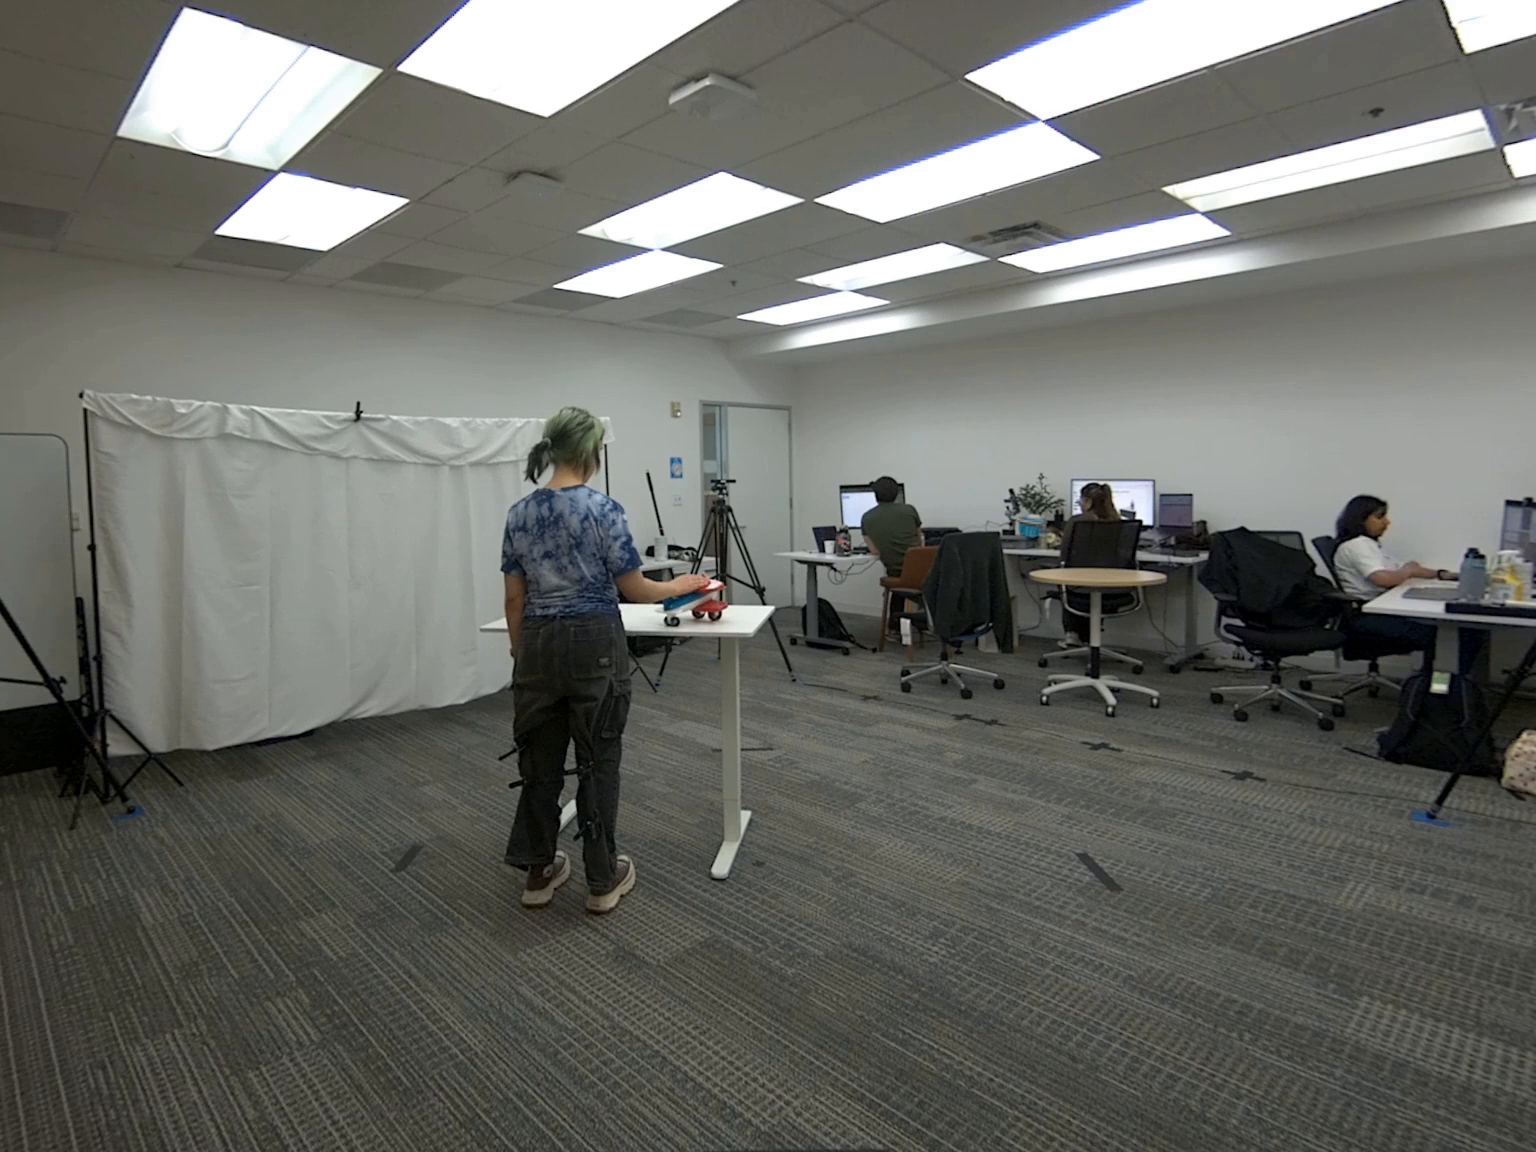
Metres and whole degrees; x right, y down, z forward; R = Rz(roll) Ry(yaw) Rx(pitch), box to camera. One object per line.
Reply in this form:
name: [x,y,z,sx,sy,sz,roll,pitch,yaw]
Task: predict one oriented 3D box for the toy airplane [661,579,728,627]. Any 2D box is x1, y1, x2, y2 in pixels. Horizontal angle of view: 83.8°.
toy airplane: [-0.264,0.095,3.104,0.255,0.156,0.257,2,6,14]
